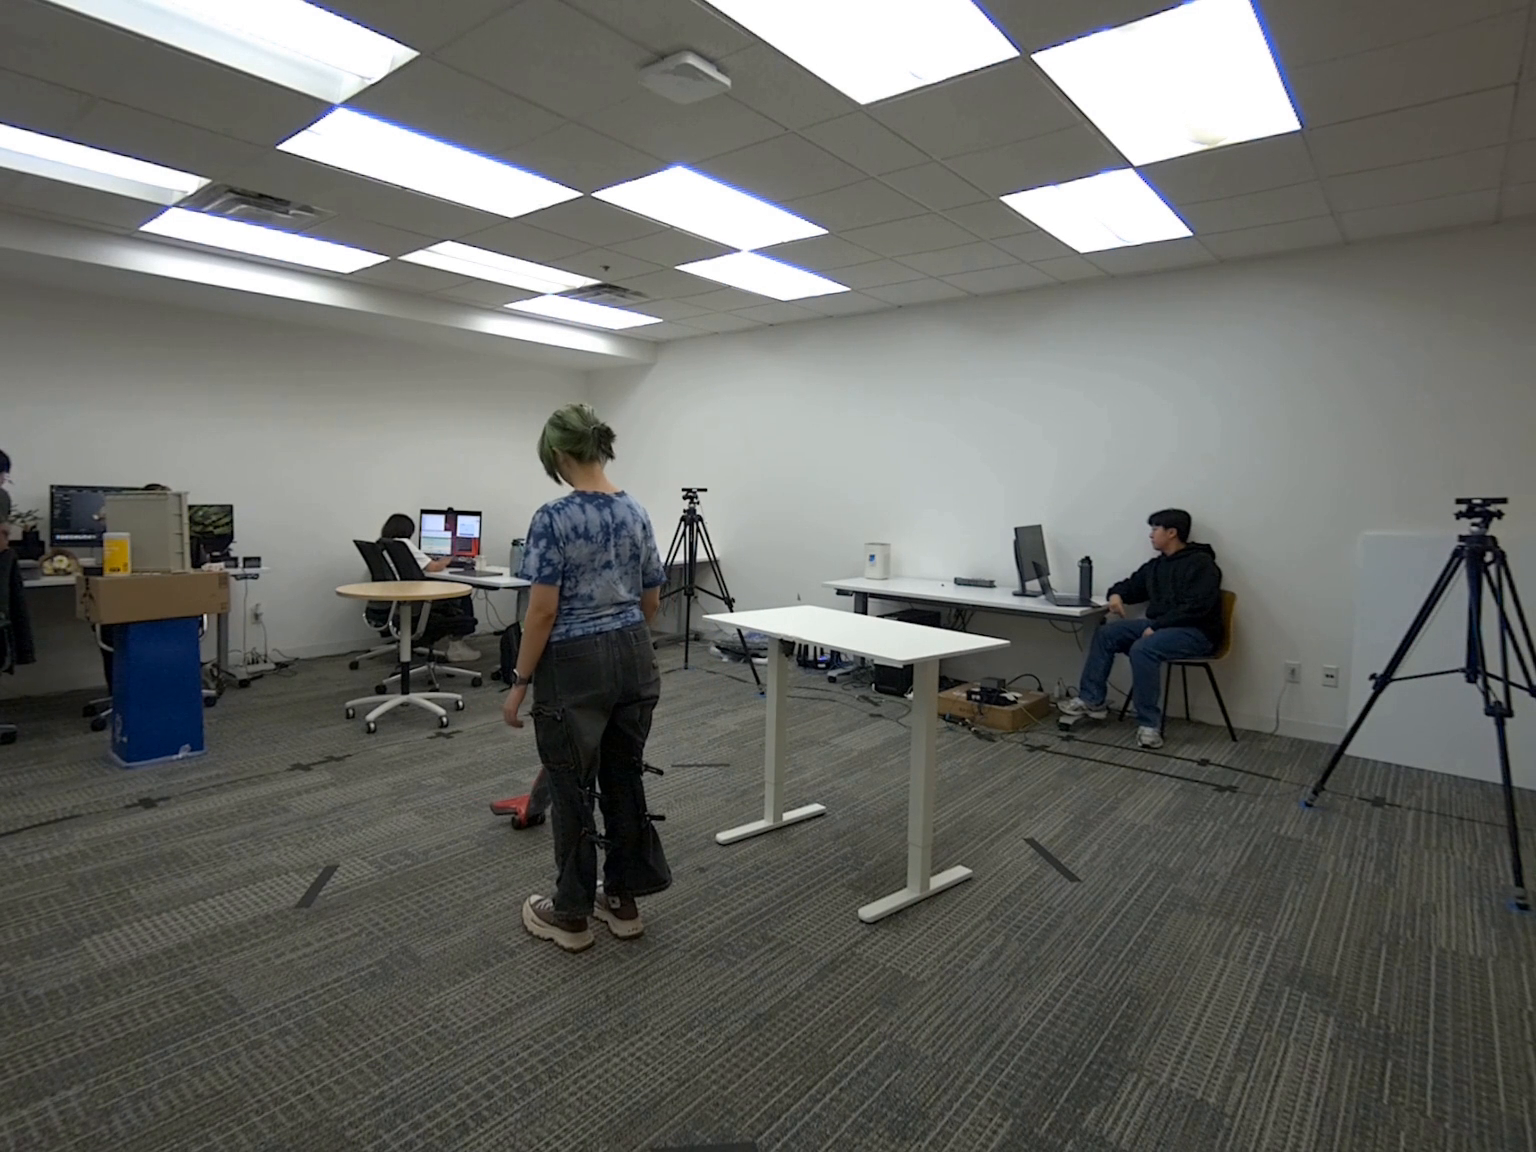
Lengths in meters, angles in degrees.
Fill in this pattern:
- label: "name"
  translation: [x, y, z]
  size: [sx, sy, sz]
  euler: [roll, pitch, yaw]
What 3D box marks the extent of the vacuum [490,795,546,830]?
- label: "vacuum"
  translation: [-0.769, 0.682, 3.208]
  size: [0.245, 0.148, 1.048]
  euler: [-5, -31, -43]
